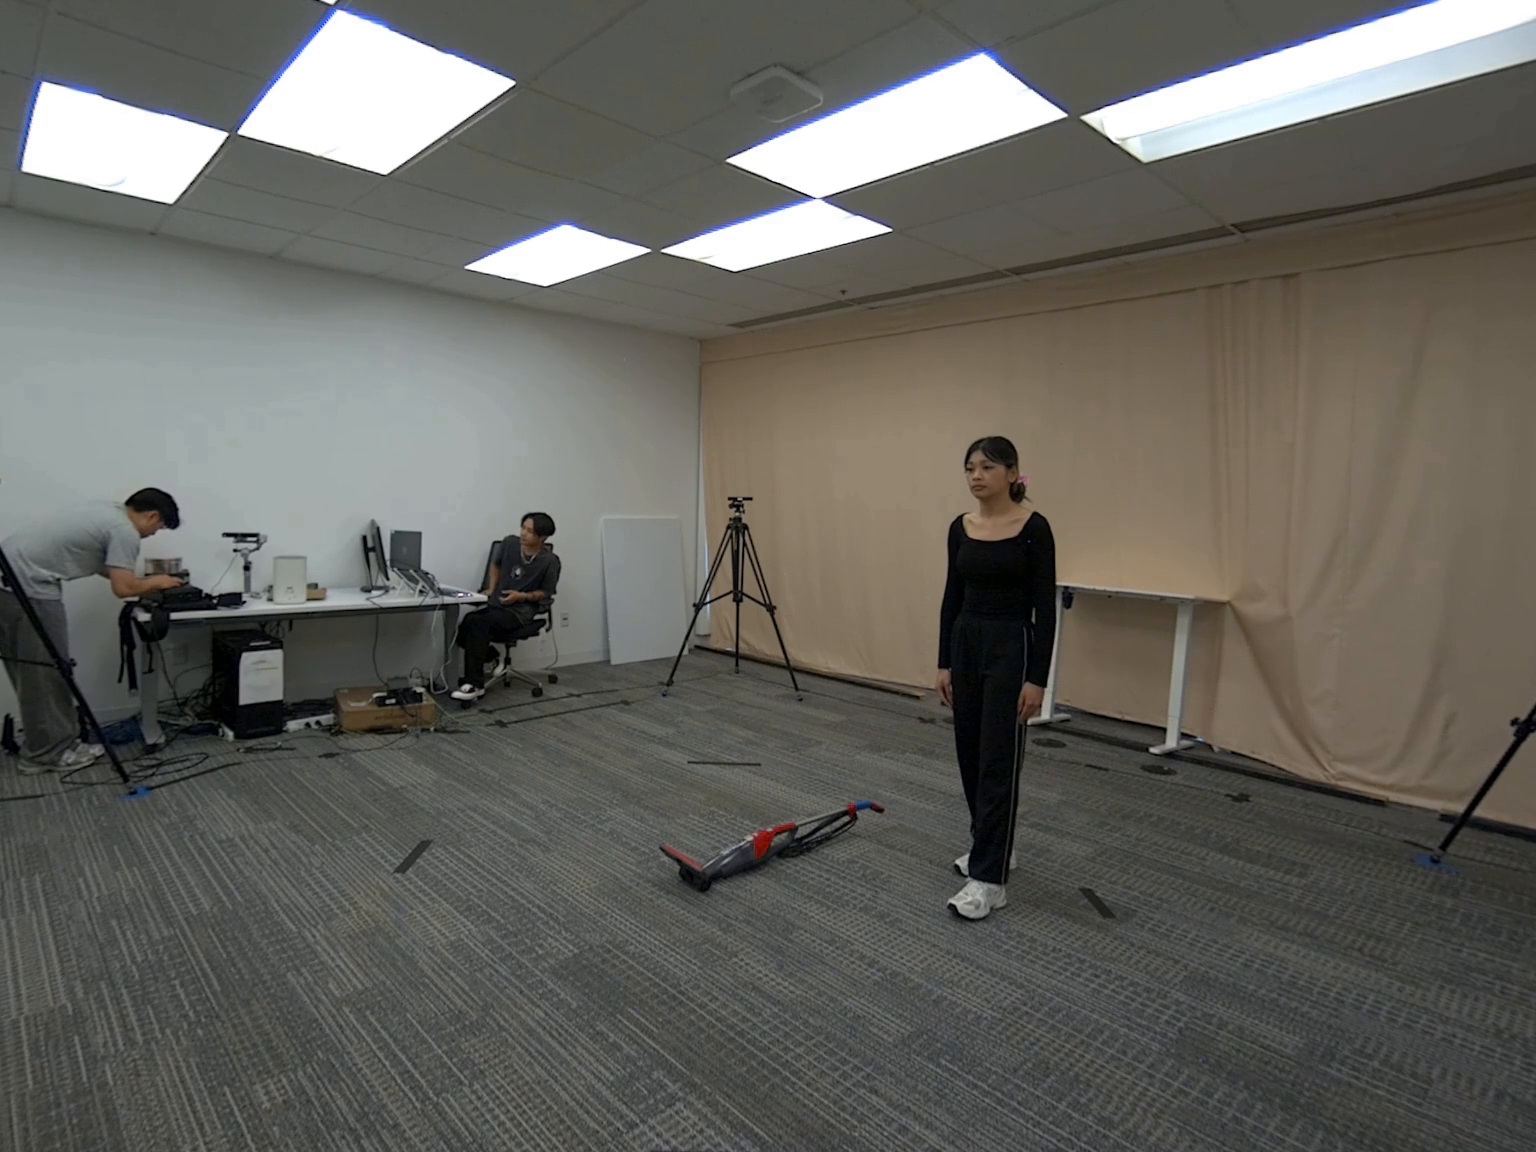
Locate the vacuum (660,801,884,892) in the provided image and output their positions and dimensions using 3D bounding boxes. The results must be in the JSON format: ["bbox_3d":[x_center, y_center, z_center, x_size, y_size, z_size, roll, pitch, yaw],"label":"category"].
[{"bbox_3d":[0.095,1.034,3.322,1.025,0.143,0.259,-1,8,-40],"label":"vacuum"}]
